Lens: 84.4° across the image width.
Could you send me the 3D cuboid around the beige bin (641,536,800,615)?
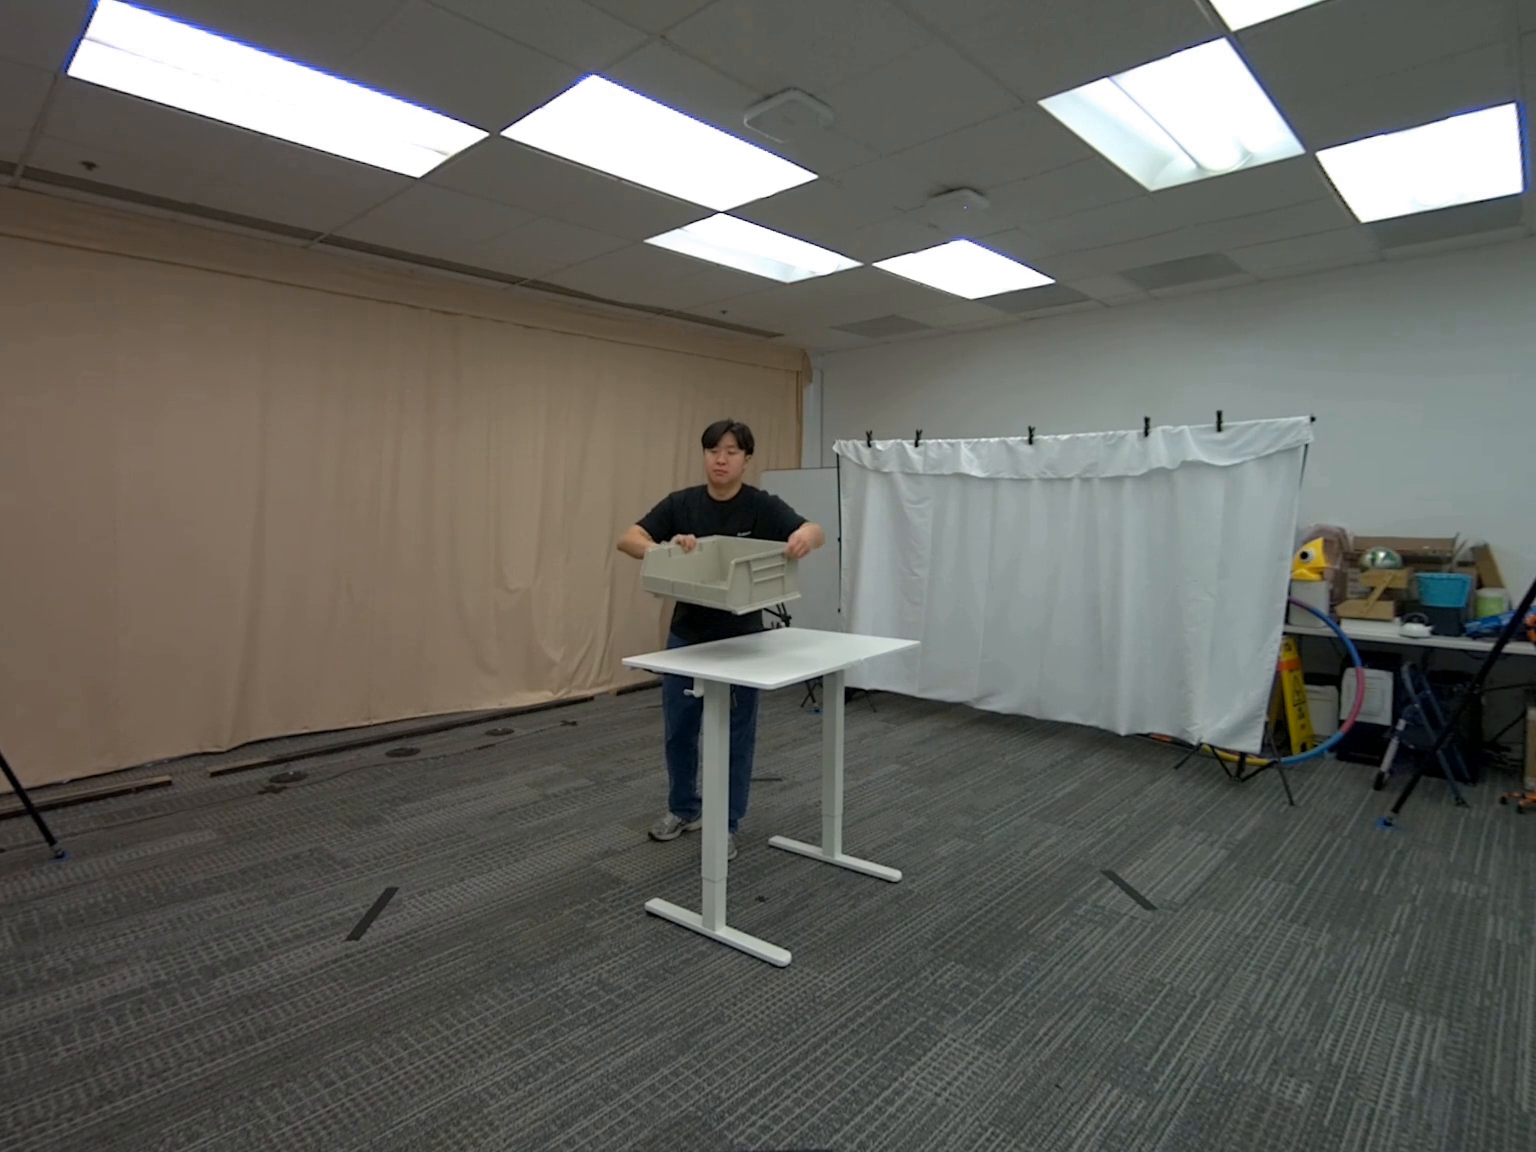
[{"bbox_3d":[-0.155,-0.010,2.870,0.437,0.188,0.366,8,13,43],"label":"beige bin"}]
